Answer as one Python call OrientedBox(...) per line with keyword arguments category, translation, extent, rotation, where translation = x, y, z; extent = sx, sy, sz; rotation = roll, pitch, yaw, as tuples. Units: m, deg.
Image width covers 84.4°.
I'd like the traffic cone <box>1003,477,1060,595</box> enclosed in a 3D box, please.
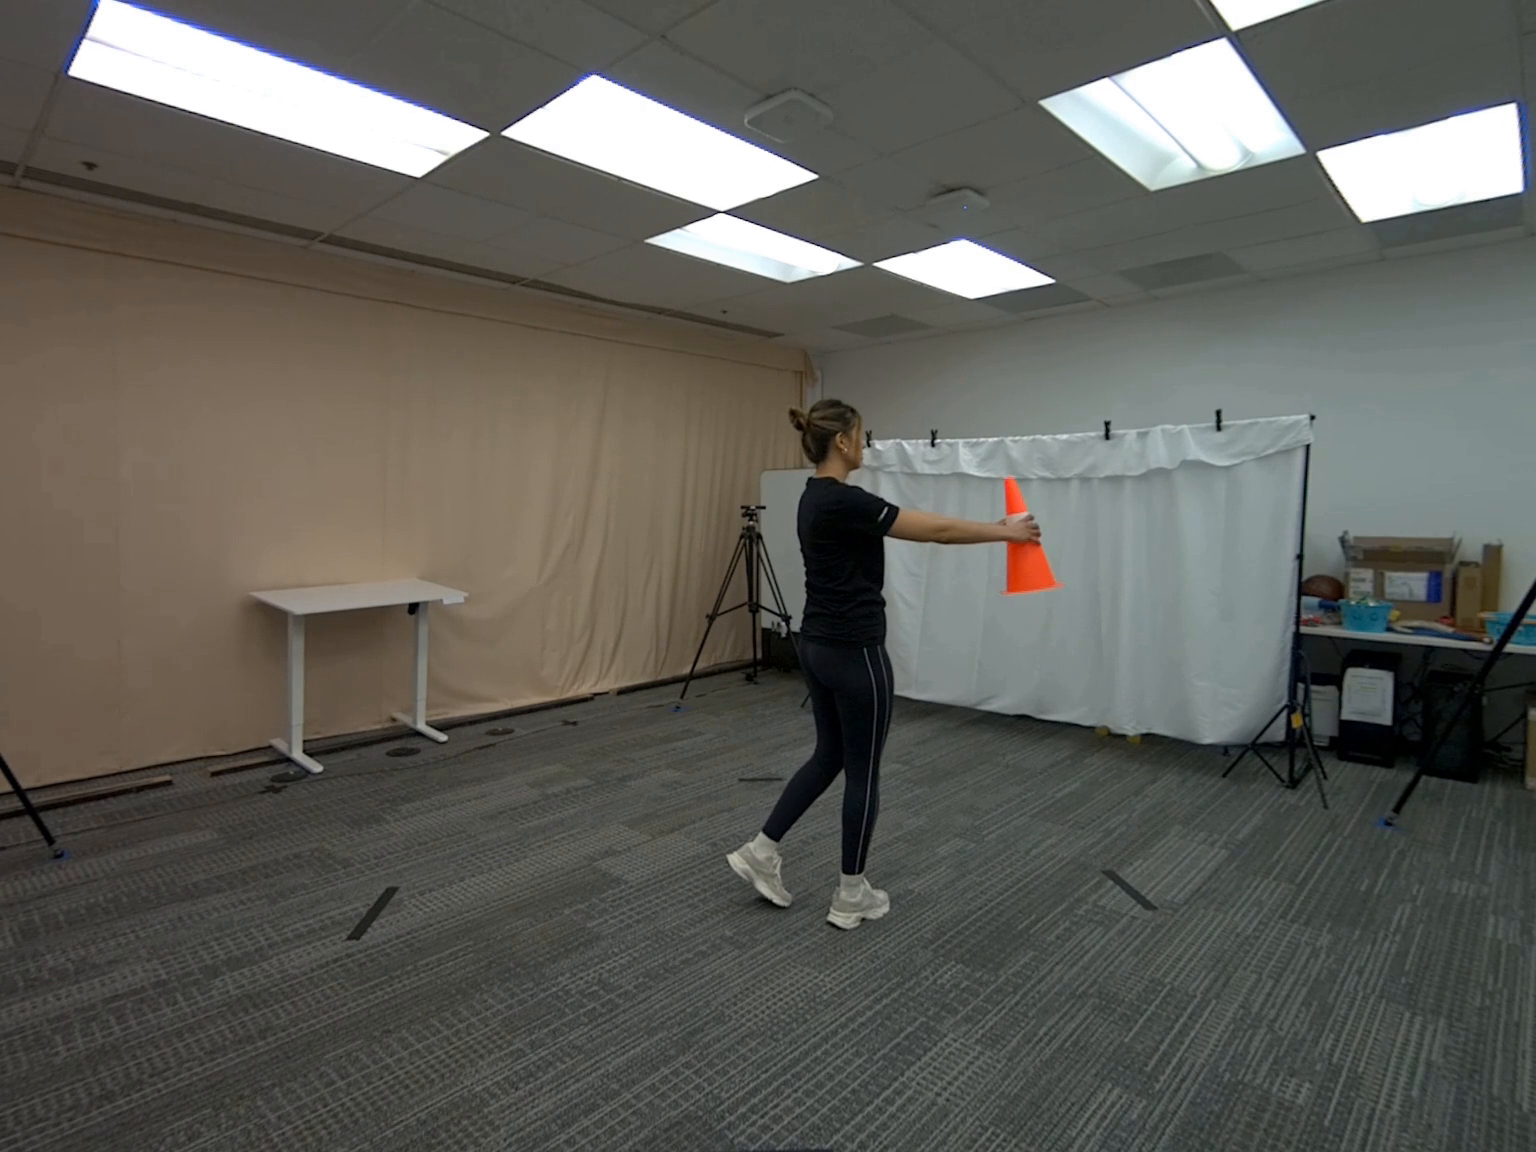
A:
OrientedBox(category="traffic cone", translation=(0.850, -0.140, 2.825), extent=(0.200, 0.383, 0.209), rotation=(-10, 2, -20))
